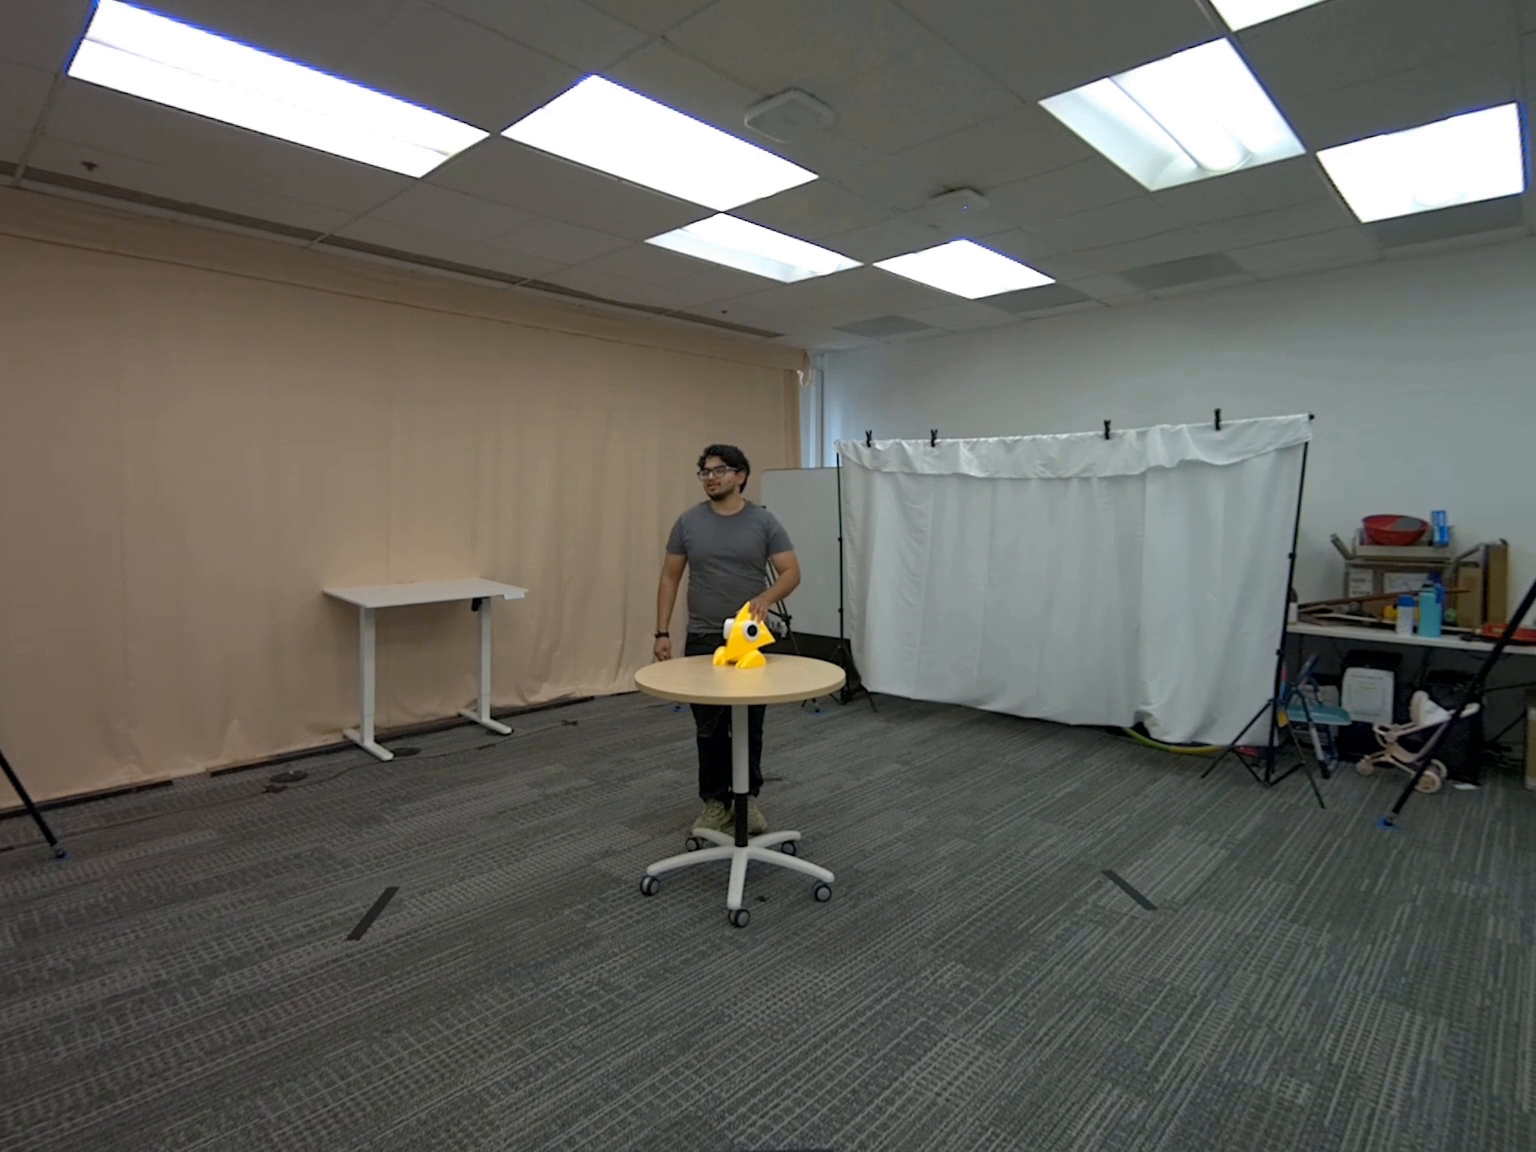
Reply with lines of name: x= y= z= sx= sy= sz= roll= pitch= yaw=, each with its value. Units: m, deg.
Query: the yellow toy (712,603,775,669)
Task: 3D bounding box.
yellow toy: x=-0.106 y=0.221 z=3.262 sx=0.211 sy=0.230 sz=0.187 roll=2 pitch=4 yaw=35
